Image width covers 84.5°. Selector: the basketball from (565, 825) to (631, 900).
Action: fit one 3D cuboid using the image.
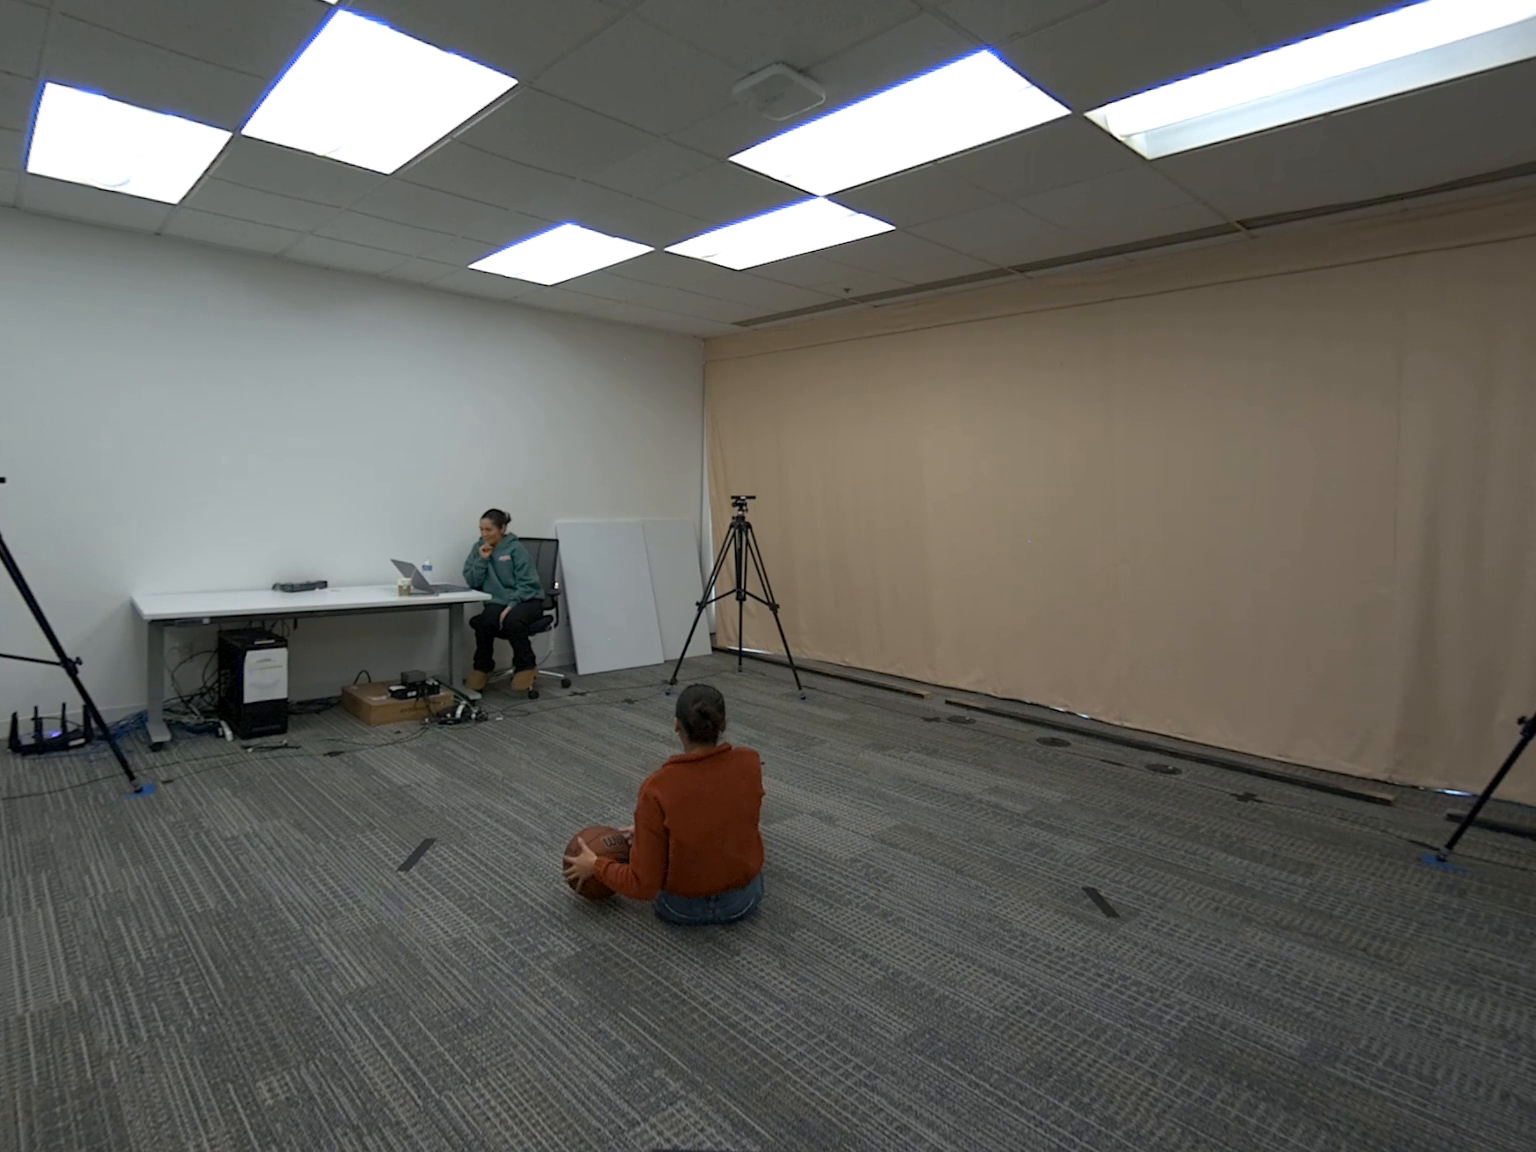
[{"bbox_3d":[-0.583,0.974,2.874,0.236,0.235,0.237,1,4,-1],"label":"basketball"}]
